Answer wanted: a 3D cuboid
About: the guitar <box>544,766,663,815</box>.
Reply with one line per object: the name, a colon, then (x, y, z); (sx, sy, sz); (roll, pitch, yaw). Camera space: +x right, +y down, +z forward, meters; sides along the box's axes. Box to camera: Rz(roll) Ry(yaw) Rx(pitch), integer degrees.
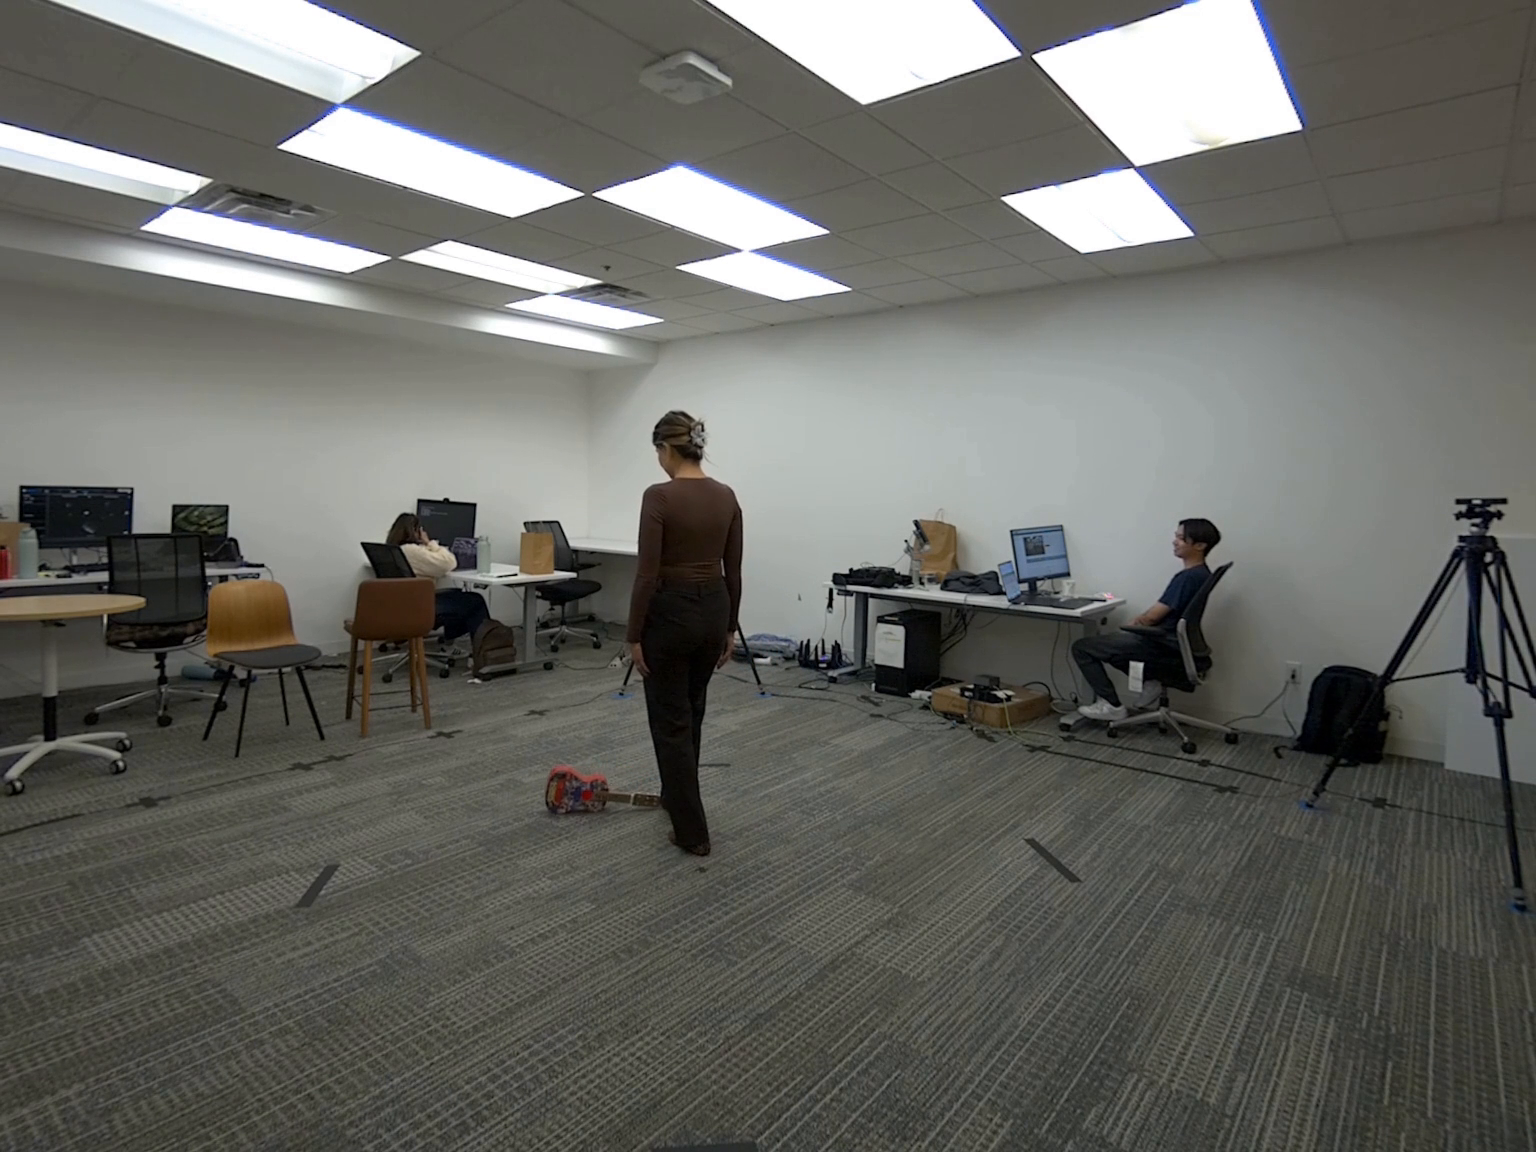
guitar: (-0.733, 0.966, 3.676); (0.491, 0.193, 0.072); (17, 0, -11)
